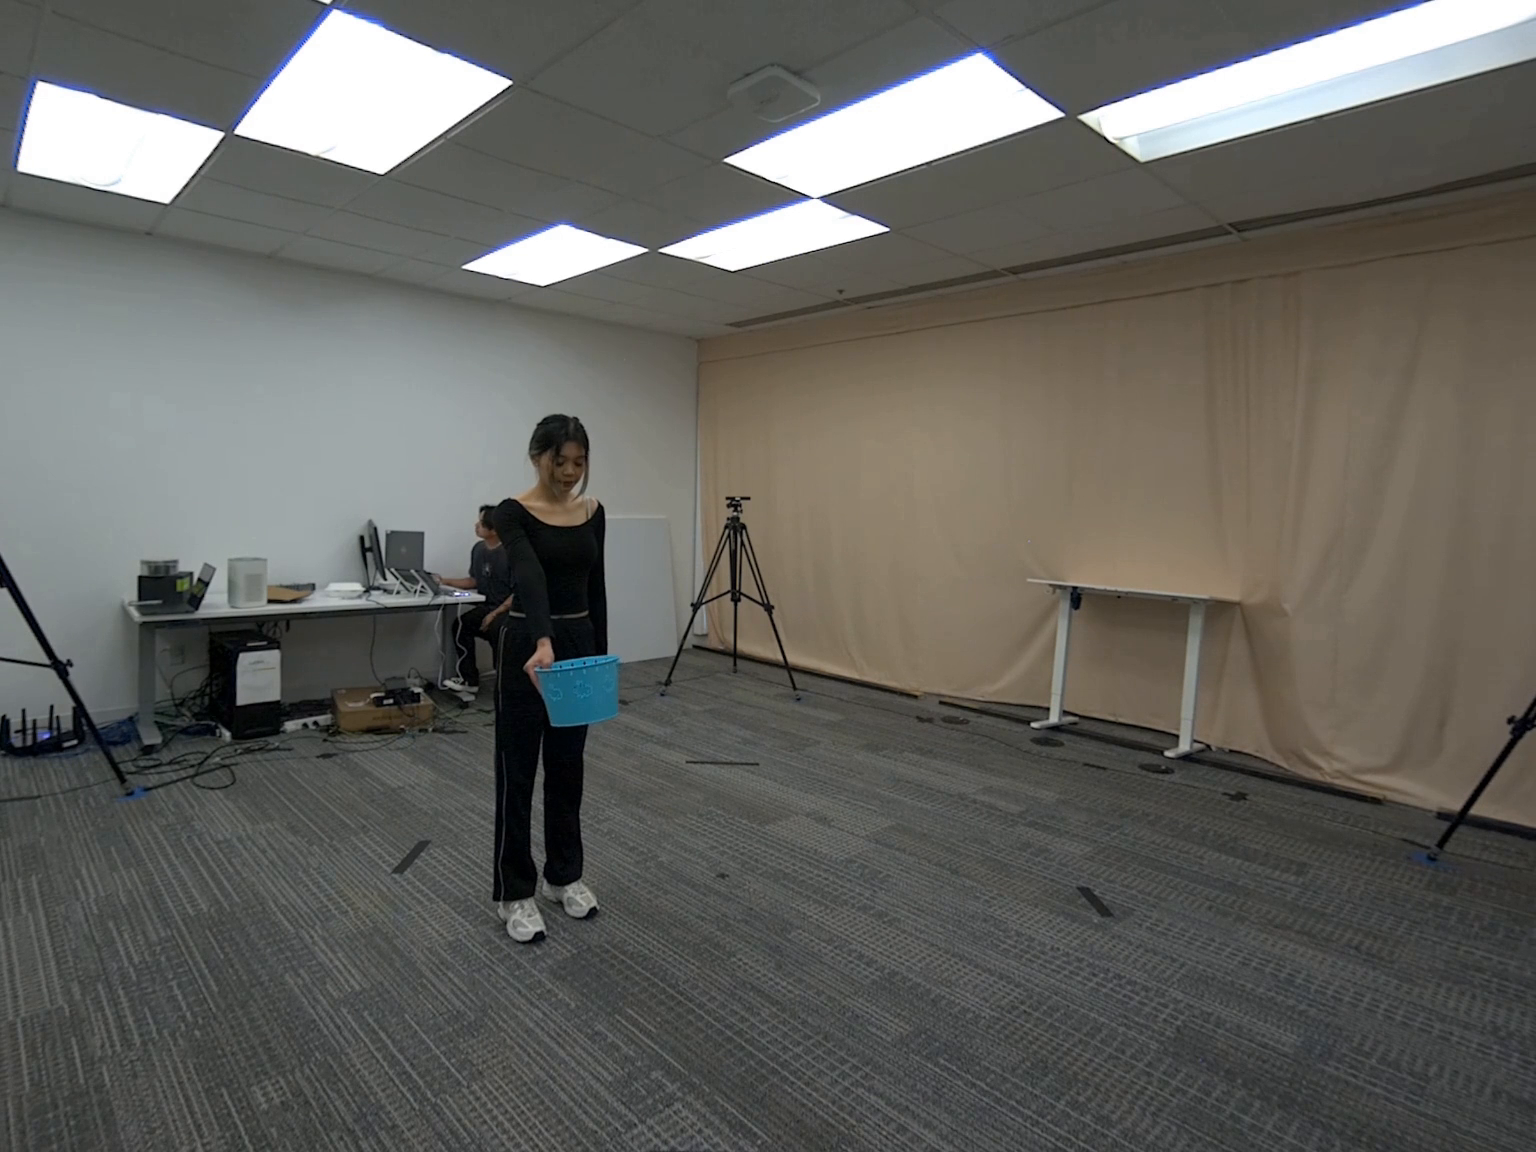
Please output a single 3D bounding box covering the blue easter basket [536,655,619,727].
[{"bbox_3d":[-0.514,0.321,2.240,0.243,0.156,0.244,-6,0,-1],"label":"blue easter basket"}]
